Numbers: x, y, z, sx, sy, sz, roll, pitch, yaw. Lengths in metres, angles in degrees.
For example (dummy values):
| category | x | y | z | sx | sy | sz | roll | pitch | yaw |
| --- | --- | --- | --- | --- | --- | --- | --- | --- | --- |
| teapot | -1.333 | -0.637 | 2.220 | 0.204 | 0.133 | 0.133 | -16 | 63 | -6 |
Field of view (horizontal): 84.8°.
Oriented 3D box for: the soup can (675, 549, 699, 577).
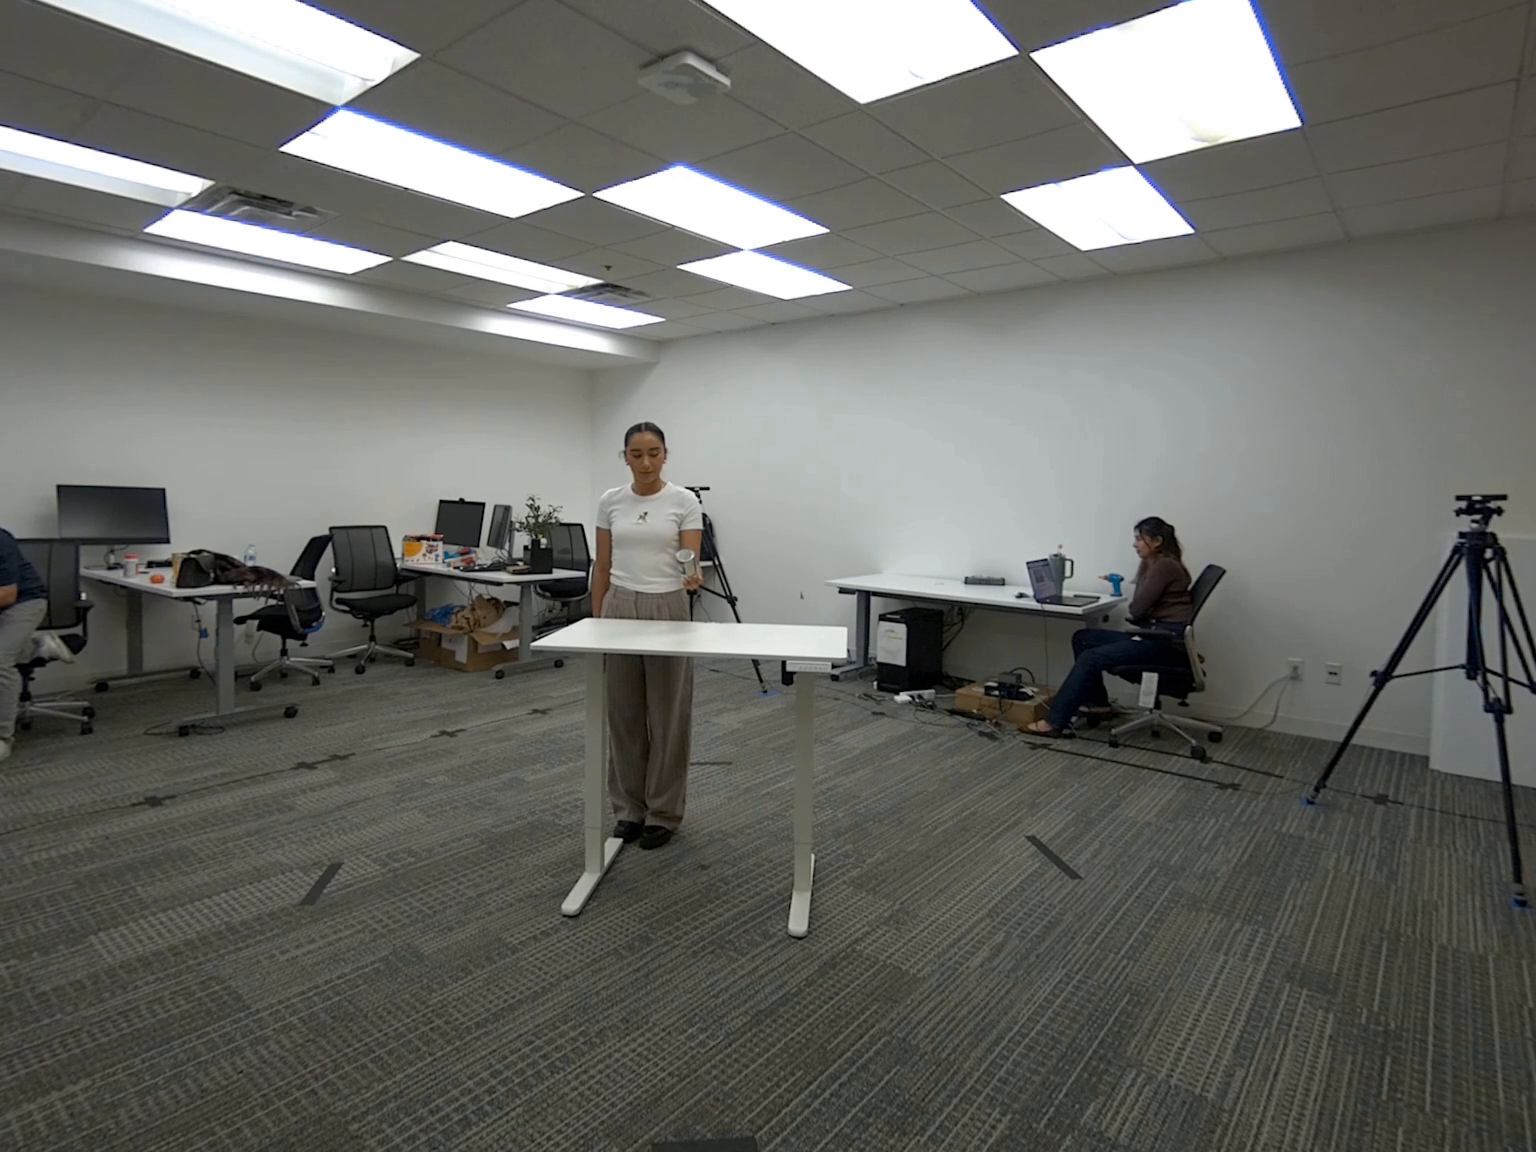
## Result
| category | x | y | z | sx | sy | sz | roll | pitch | yaw |
| --- | --- | --- | --- | --- | --- | --- | --- | --- | --- |
| soup can | -0.291 | -0.039 | 2.934 | 0.067 | 0.118 | 0.069 | 0 | 47 | -2 |
